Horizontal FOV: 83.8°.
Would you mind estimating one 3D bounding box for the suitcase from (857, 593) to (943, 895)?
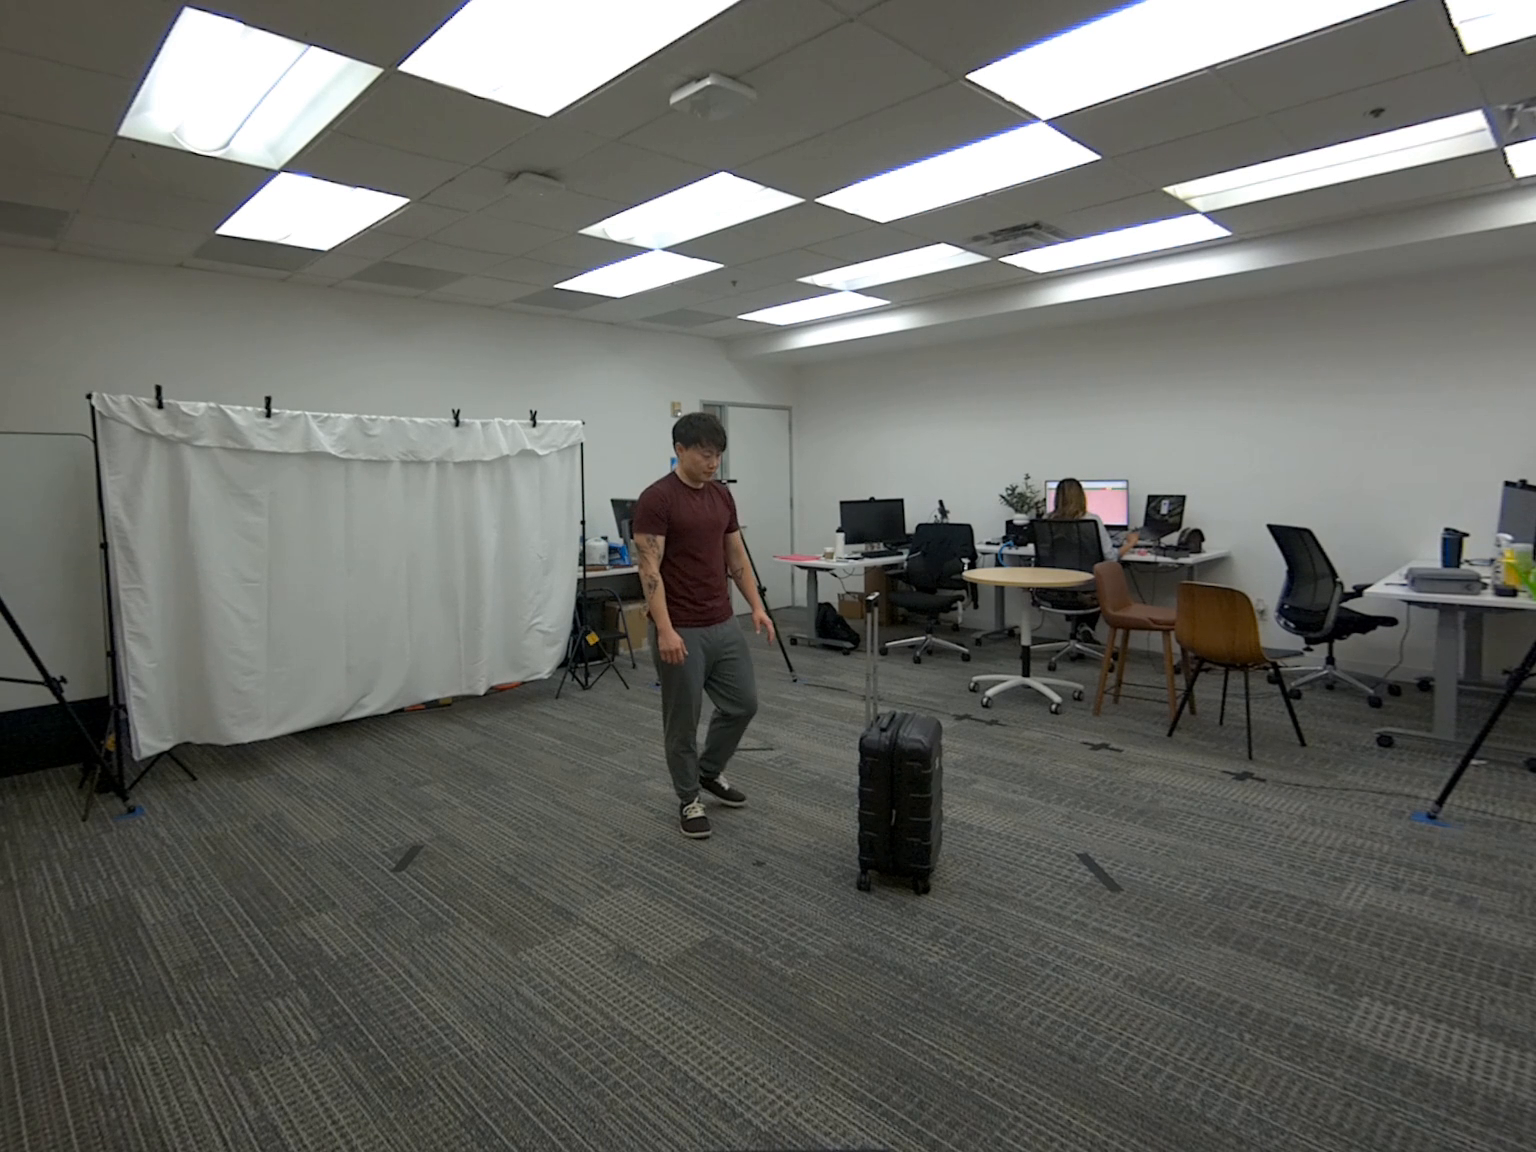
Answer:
[{"bbox_3d":[0.477,0.572,2.994,0.262,0.975,0.378,3,4,17],"label":"suitcase"}]
